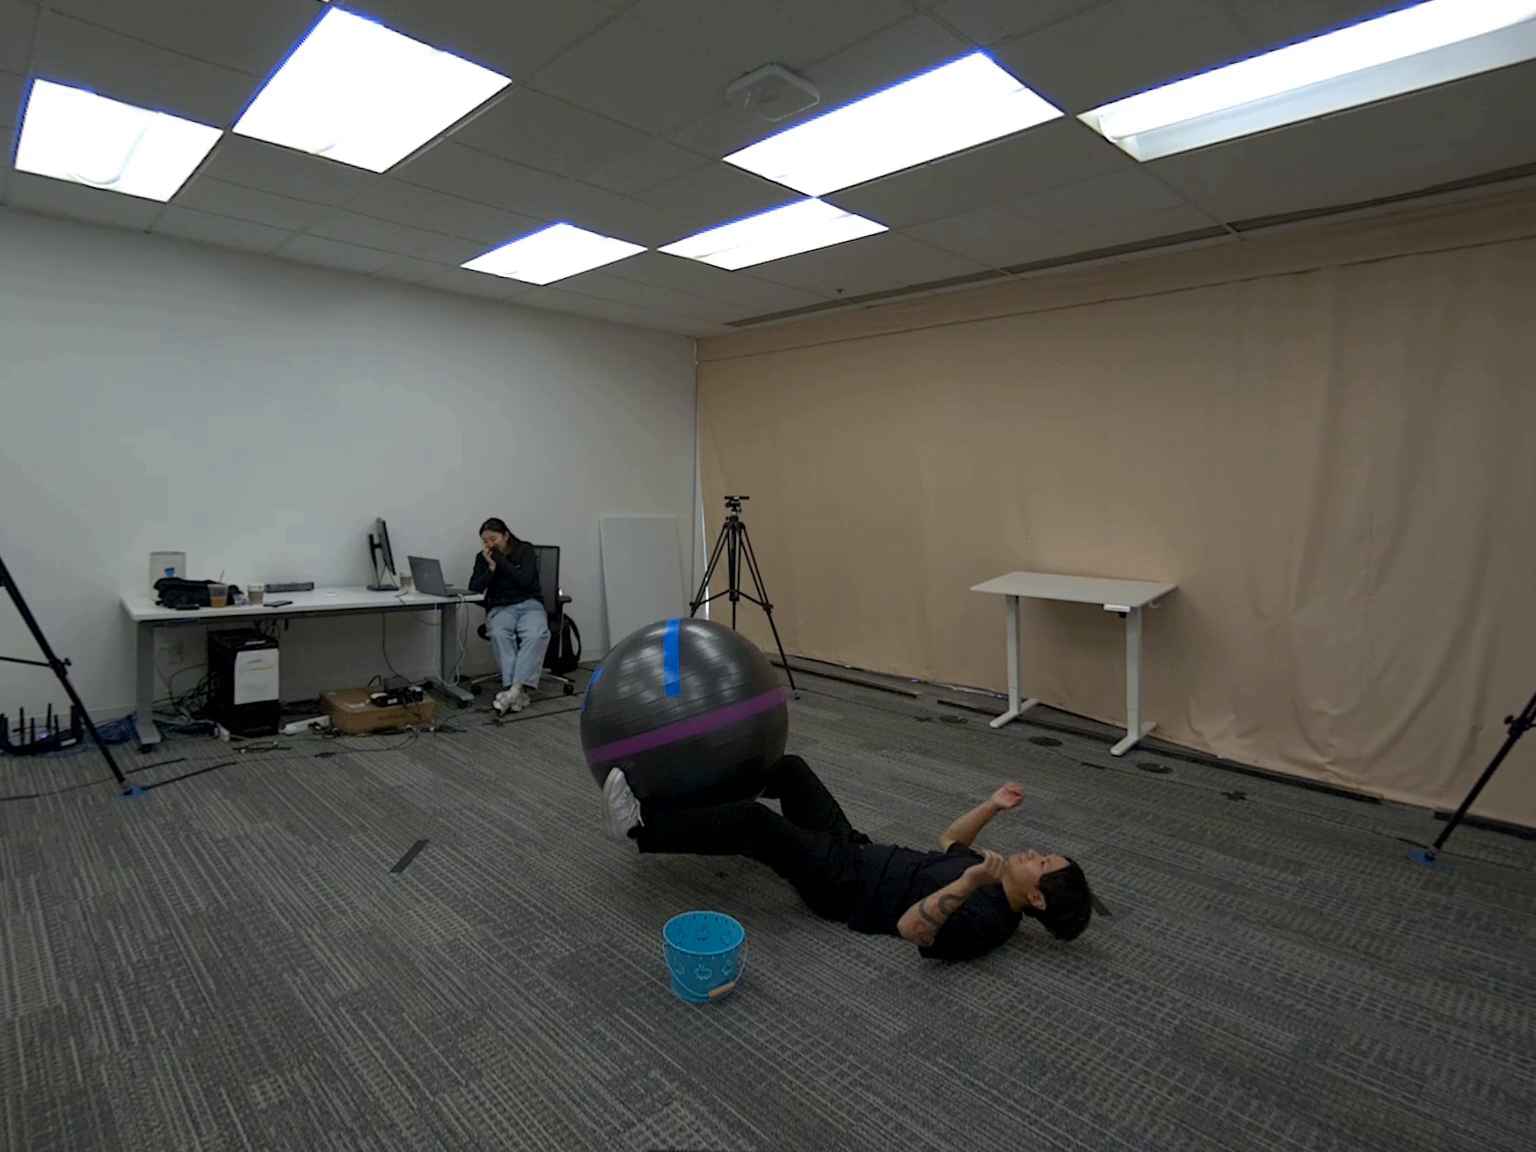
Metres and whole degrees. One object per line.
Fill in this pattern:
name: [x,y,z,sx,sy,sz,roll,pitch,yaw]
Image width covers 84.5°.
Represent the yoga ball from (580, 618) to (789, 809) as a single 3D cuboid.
yoga ball: [-0.309,0.540,3.097,0.757,0.756,0.761,1,4,-1]
